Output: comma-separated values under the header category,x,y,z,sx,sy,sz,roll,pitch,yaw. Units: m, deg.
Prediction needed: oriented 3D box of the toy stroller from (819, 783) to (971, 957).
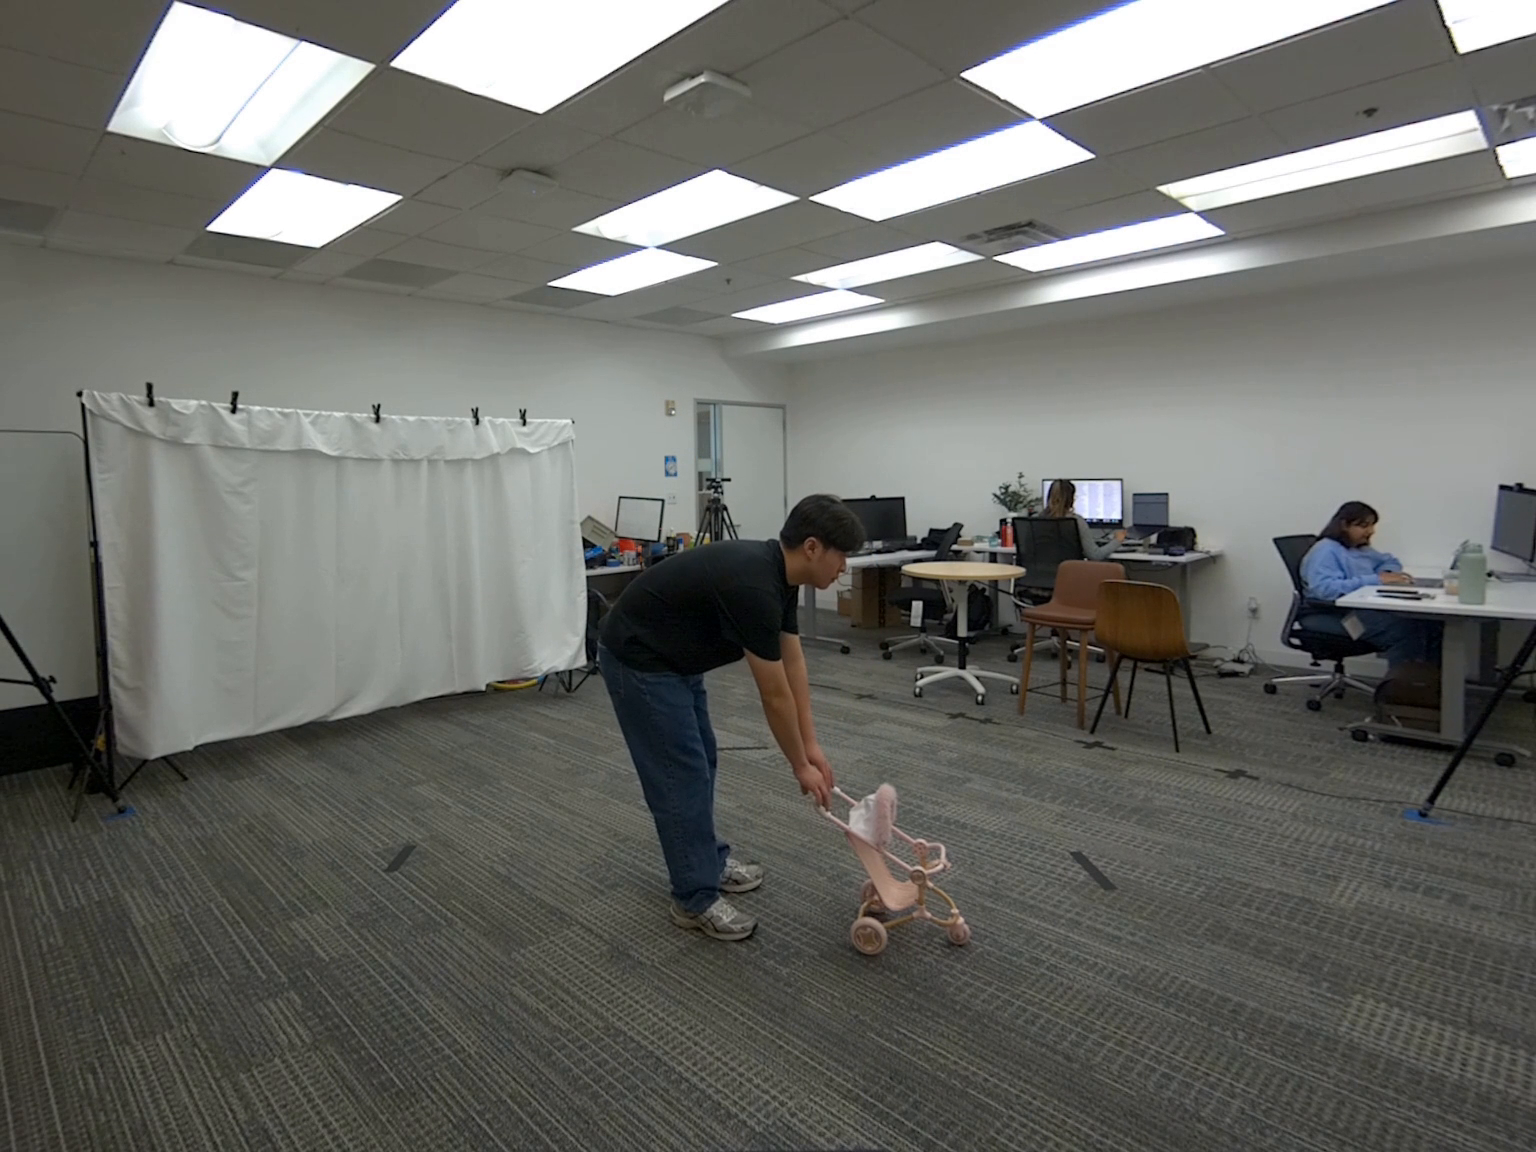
category,x,y,z,sx,sy,sz,roll,pitch,yaw
toy stroller,0.387,0.878,2.587,0.346,0.536,0.277,-16,-1,20
